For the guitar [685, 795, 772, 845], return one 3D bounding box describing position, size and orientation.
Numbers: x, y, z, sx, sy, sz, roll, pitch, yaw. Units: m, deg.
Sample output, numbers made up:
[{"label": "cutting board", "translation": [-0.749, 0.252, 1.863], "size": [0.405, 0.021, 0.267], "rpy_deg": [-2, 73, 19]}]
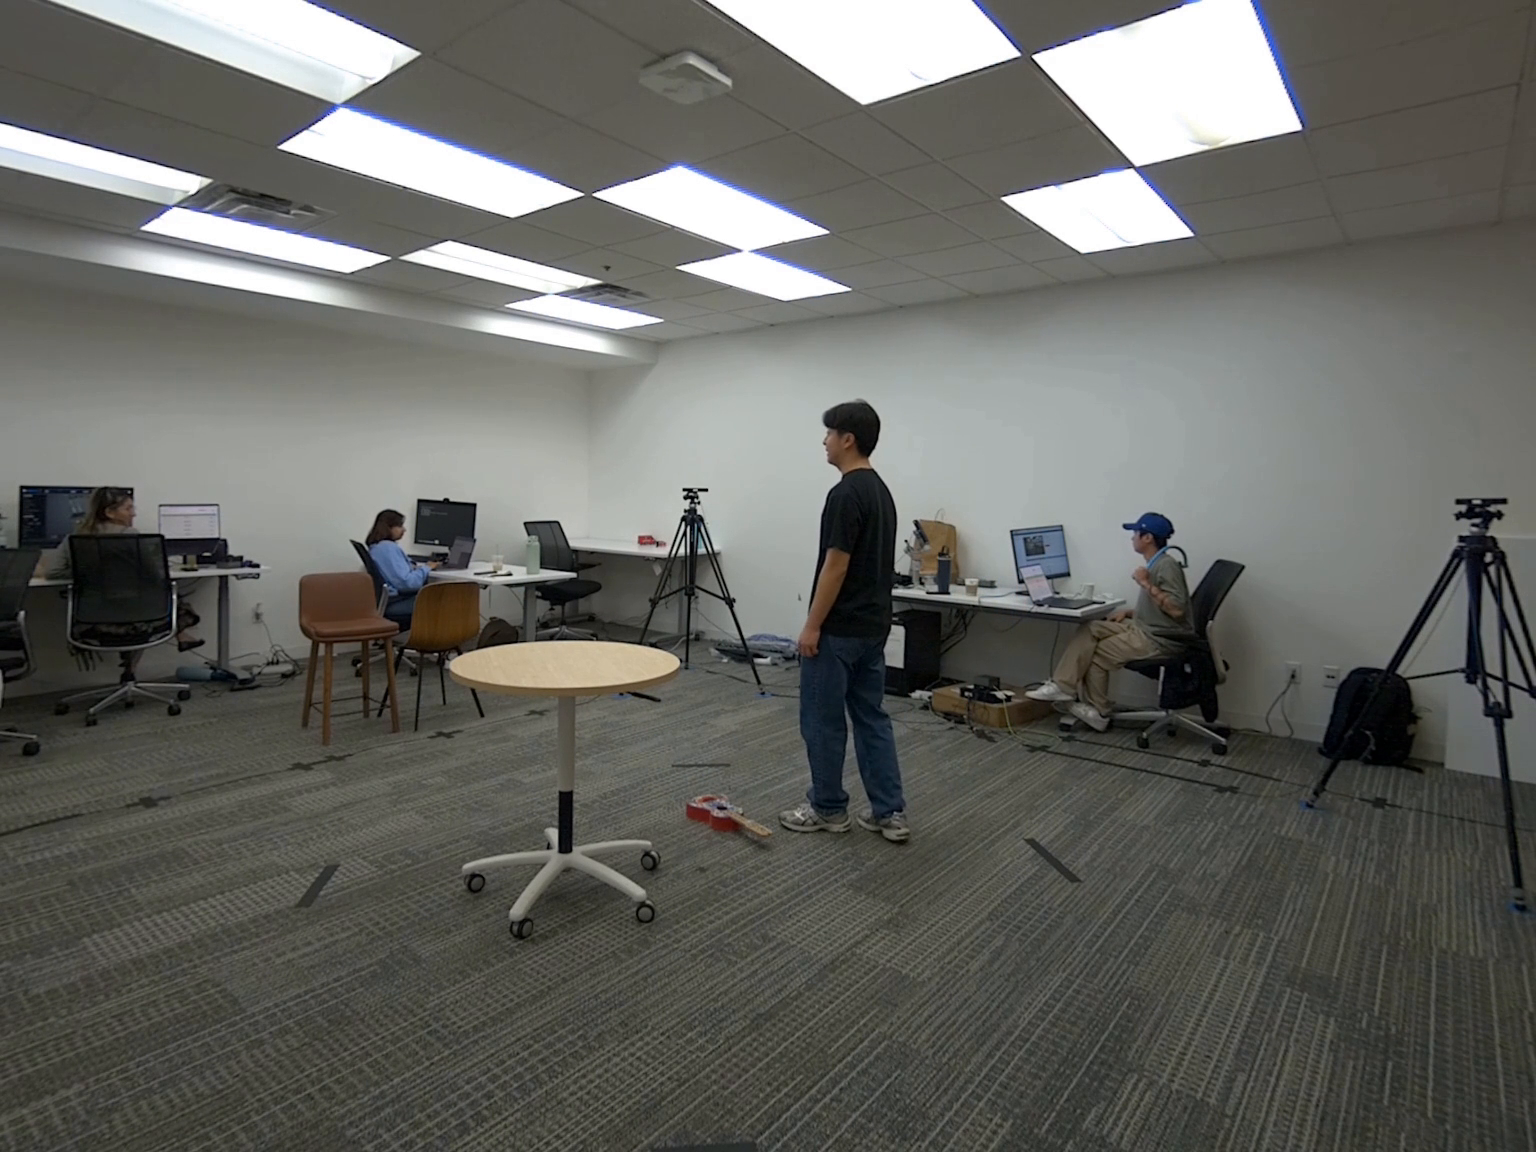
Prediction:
[{"label": "guitar", "translation": [-0.184, 1.001, 3.485], "size": [0.188, 0.070, 0.512], "rpy_deg": [-1, 6, -27]}]
